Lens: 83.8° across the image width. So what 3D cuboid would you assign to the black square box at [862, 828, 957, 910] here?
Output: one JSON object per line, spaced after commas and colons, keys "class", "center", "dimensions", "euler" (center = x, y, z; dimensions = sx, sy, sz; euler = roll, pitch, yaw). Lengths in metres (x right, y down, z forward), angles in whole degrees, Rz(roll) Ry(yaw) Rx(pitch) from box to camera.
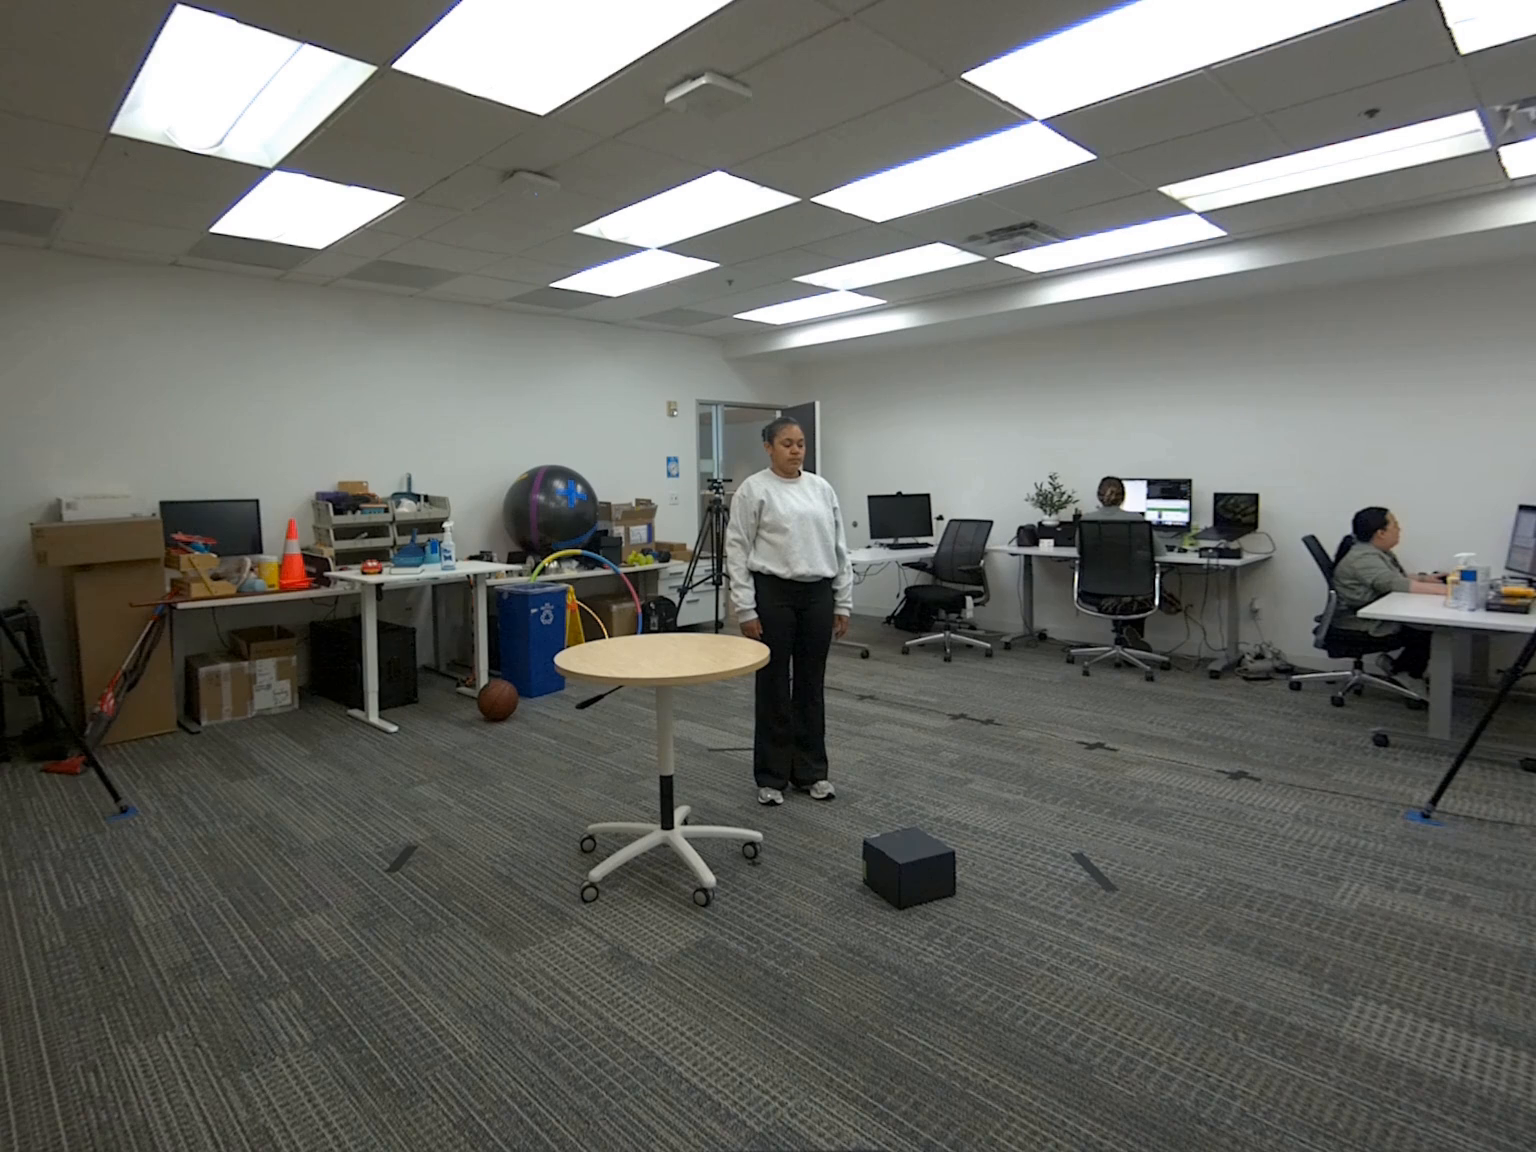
{"class": "black square box", "center": [0.477, 0.979, 2.882], "dimensions": [0.223, 0.155, 0.222], "euler": [-4, 6, -25]}
